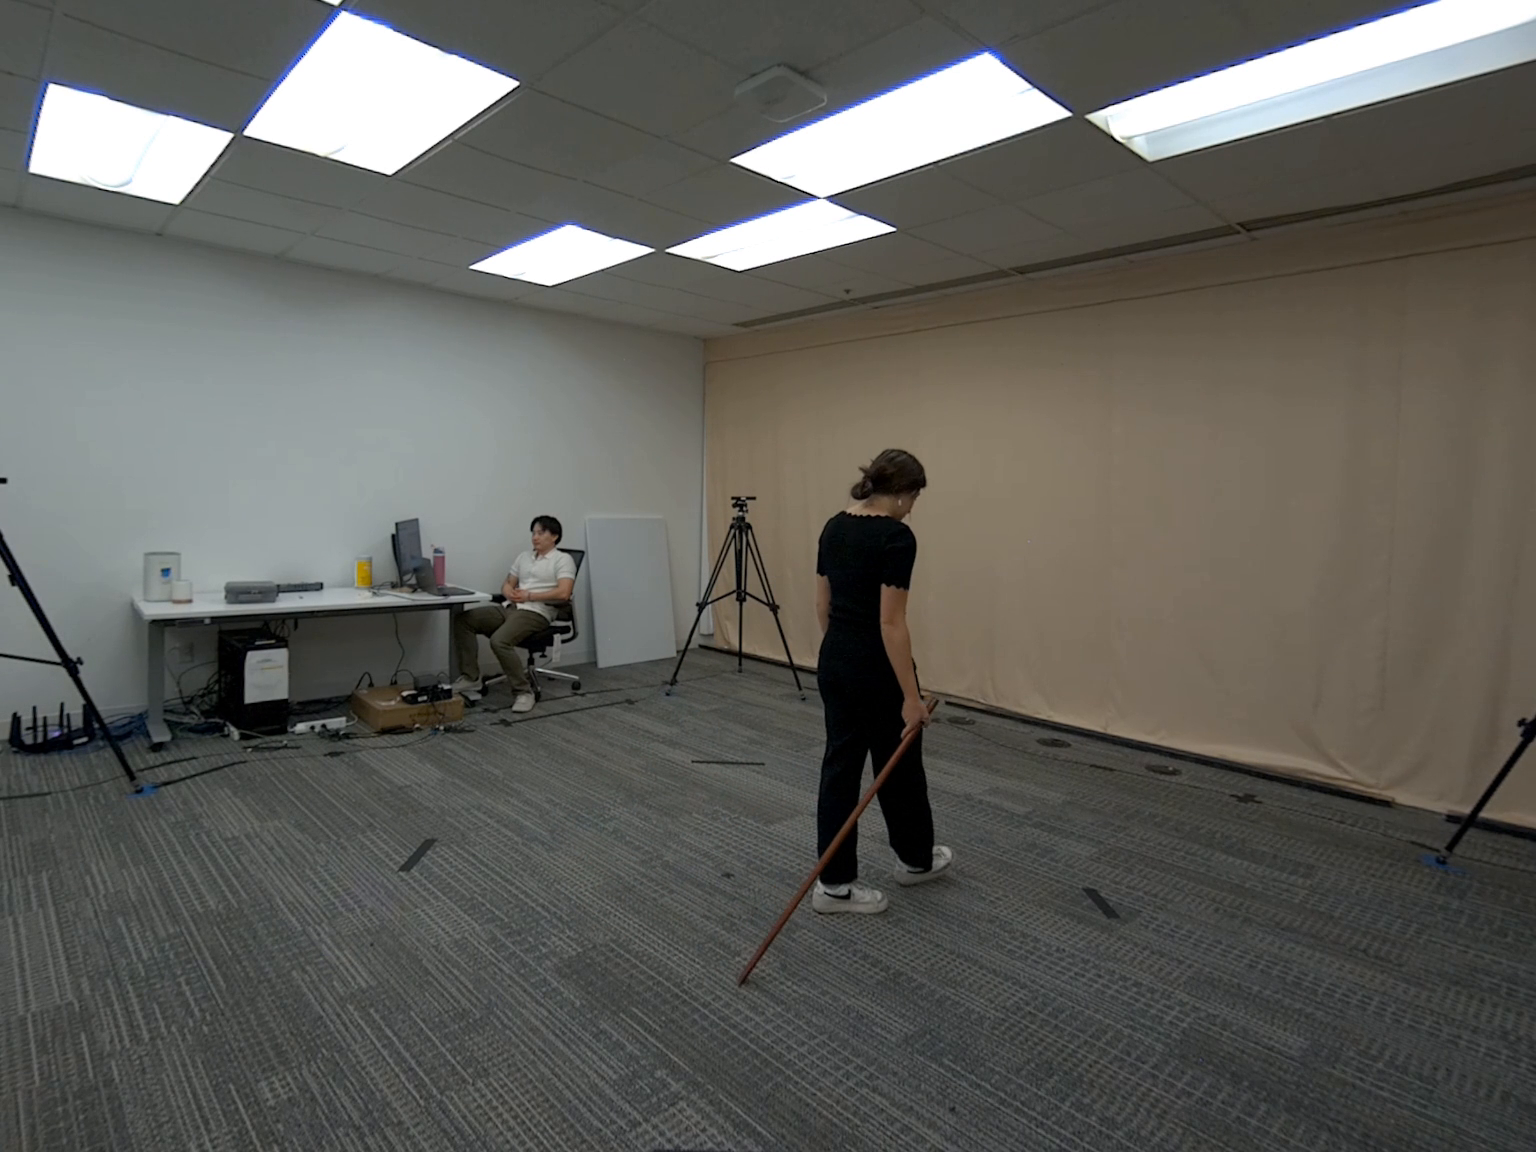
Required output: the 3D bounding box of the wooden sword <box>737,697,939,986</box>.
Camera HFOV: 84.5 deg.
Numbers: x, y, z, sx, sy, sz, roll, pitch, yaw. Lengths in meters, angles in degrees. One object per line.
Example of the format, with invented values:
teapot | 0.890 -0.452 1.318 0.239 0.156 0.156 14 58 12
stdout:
wooden sword | 0.221 0.792 2.548 0.053 1.025 0.023 21 -24 53
